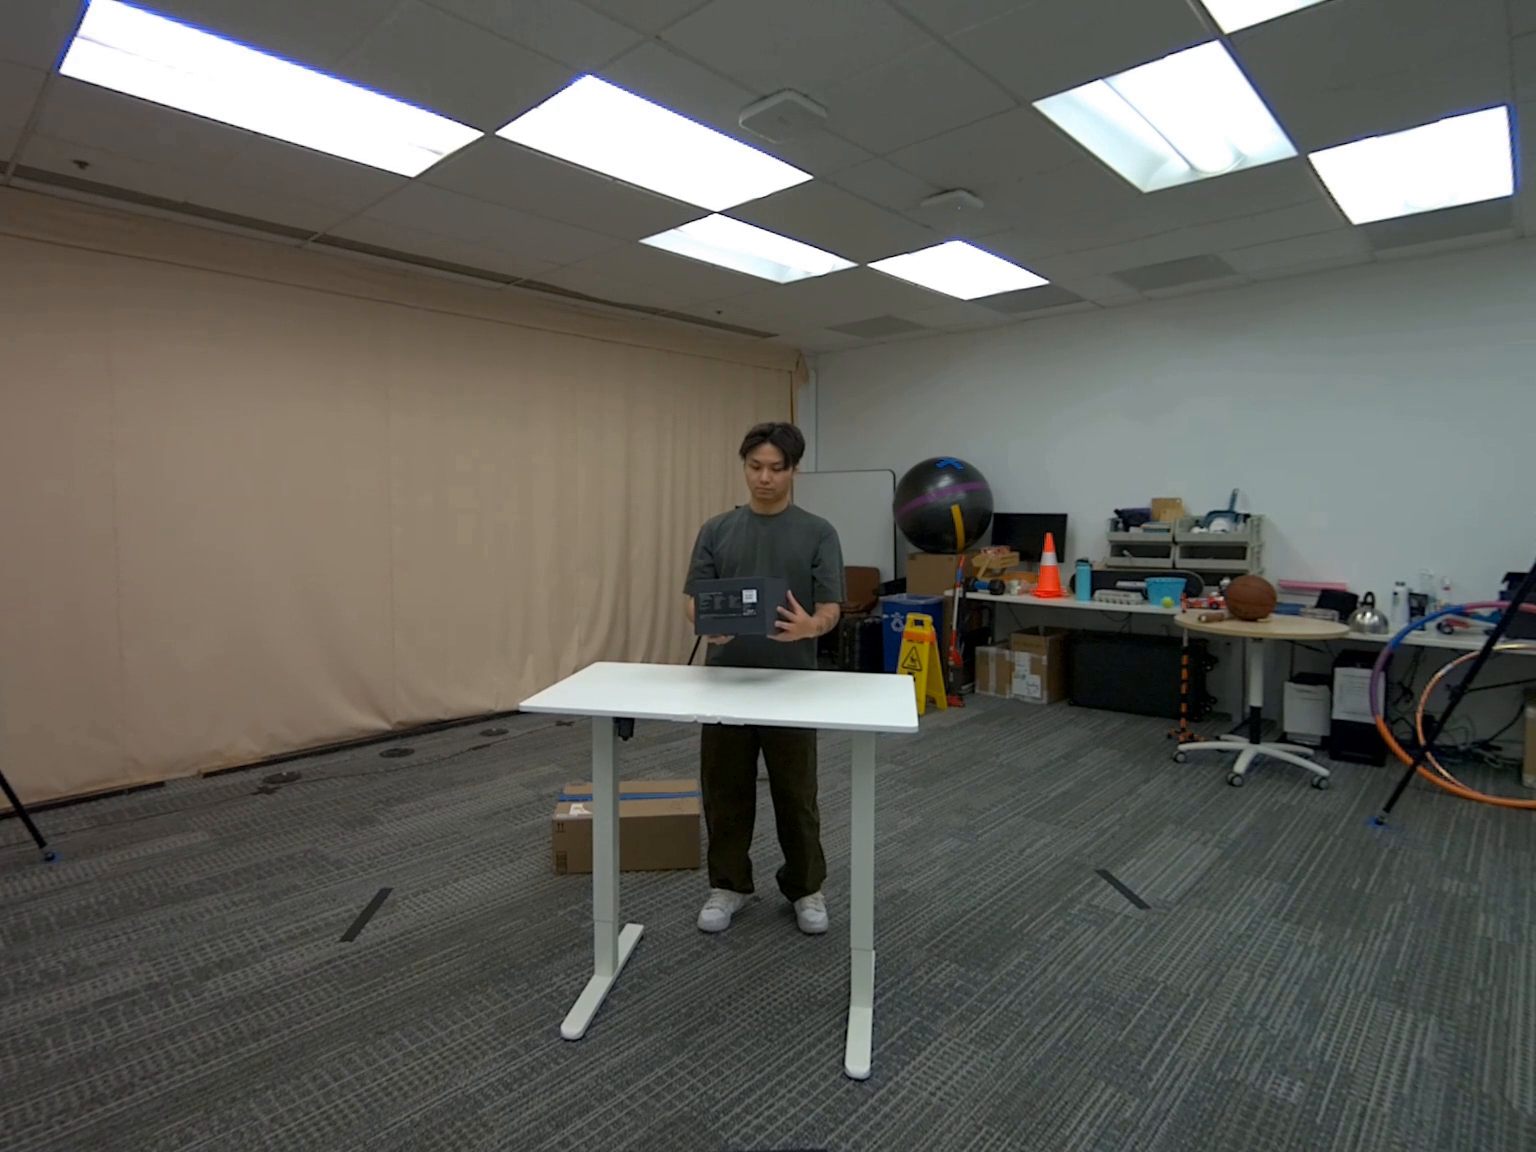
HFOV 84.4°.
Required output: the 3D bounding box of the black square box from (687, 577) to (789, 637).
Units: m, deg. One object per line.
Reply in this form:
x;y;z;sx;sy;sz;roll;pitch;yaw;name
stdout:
-0.076;0.090;2.453;0.221;0.156;0.223;-3;-5;17;black square box
